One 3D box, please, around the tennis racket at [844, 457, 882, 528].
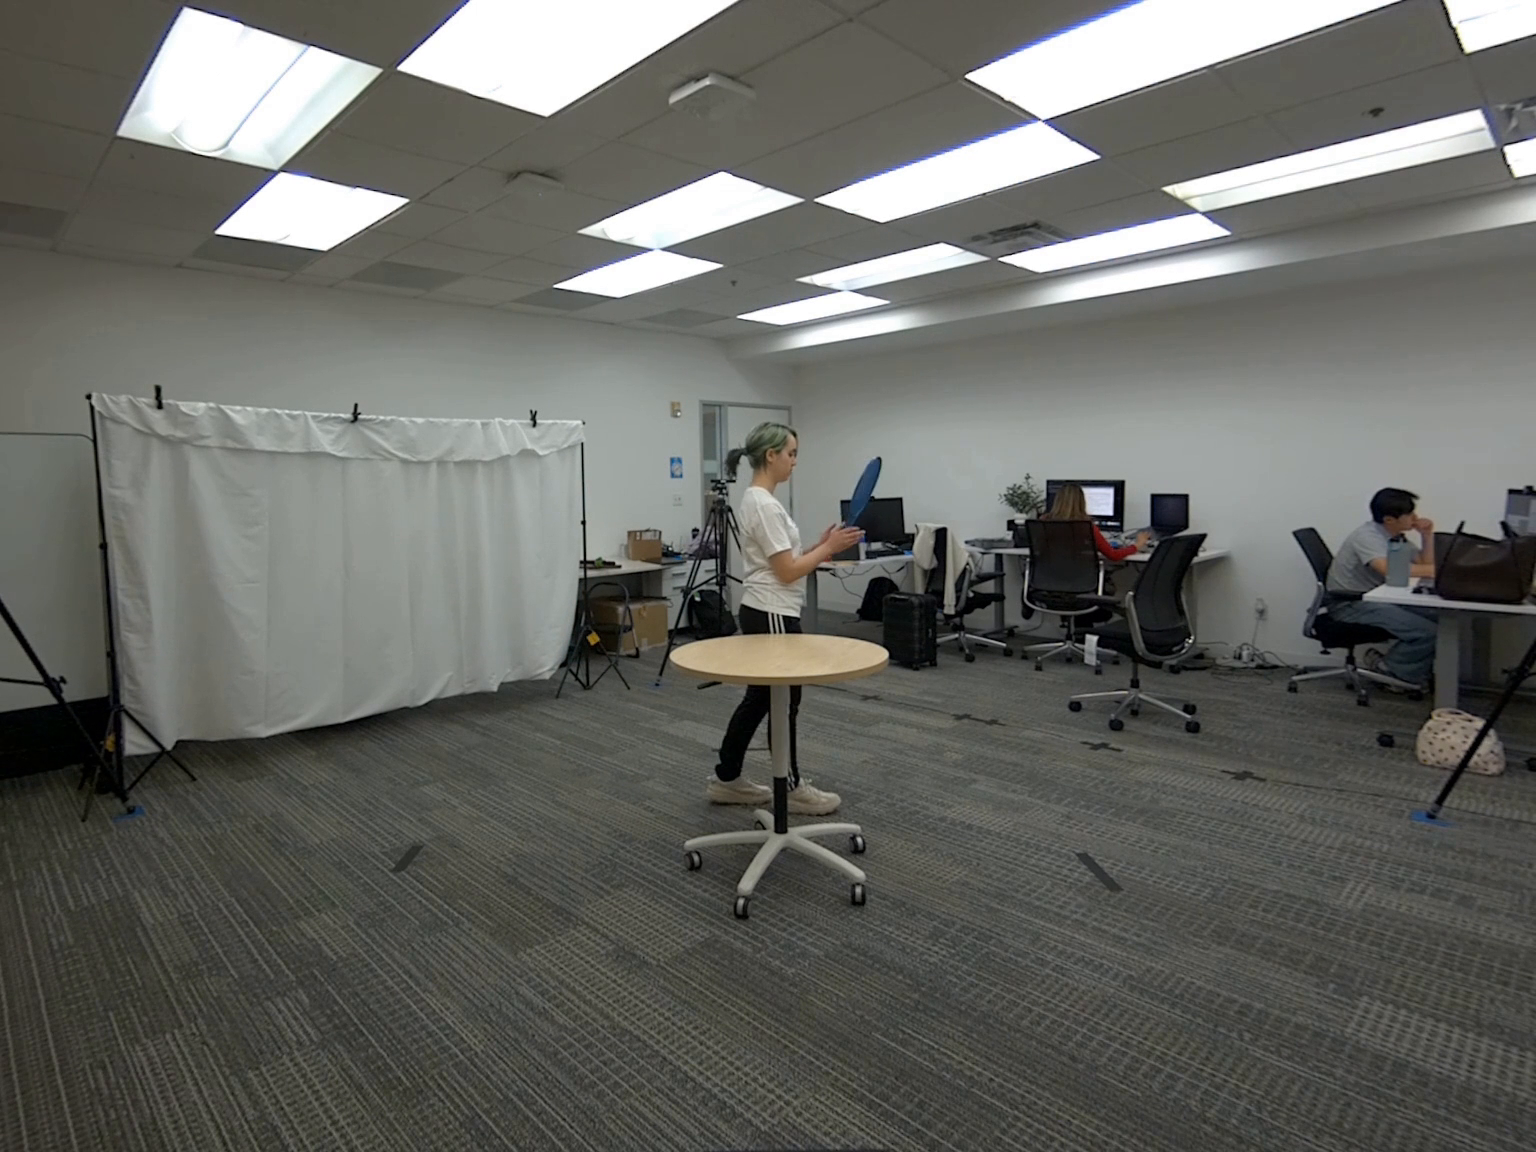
[{"bbox_3d":[0.363,-0.289,3.500,0.032,0.430,0.210,26,12,18],"label":"tennis racket"}]
